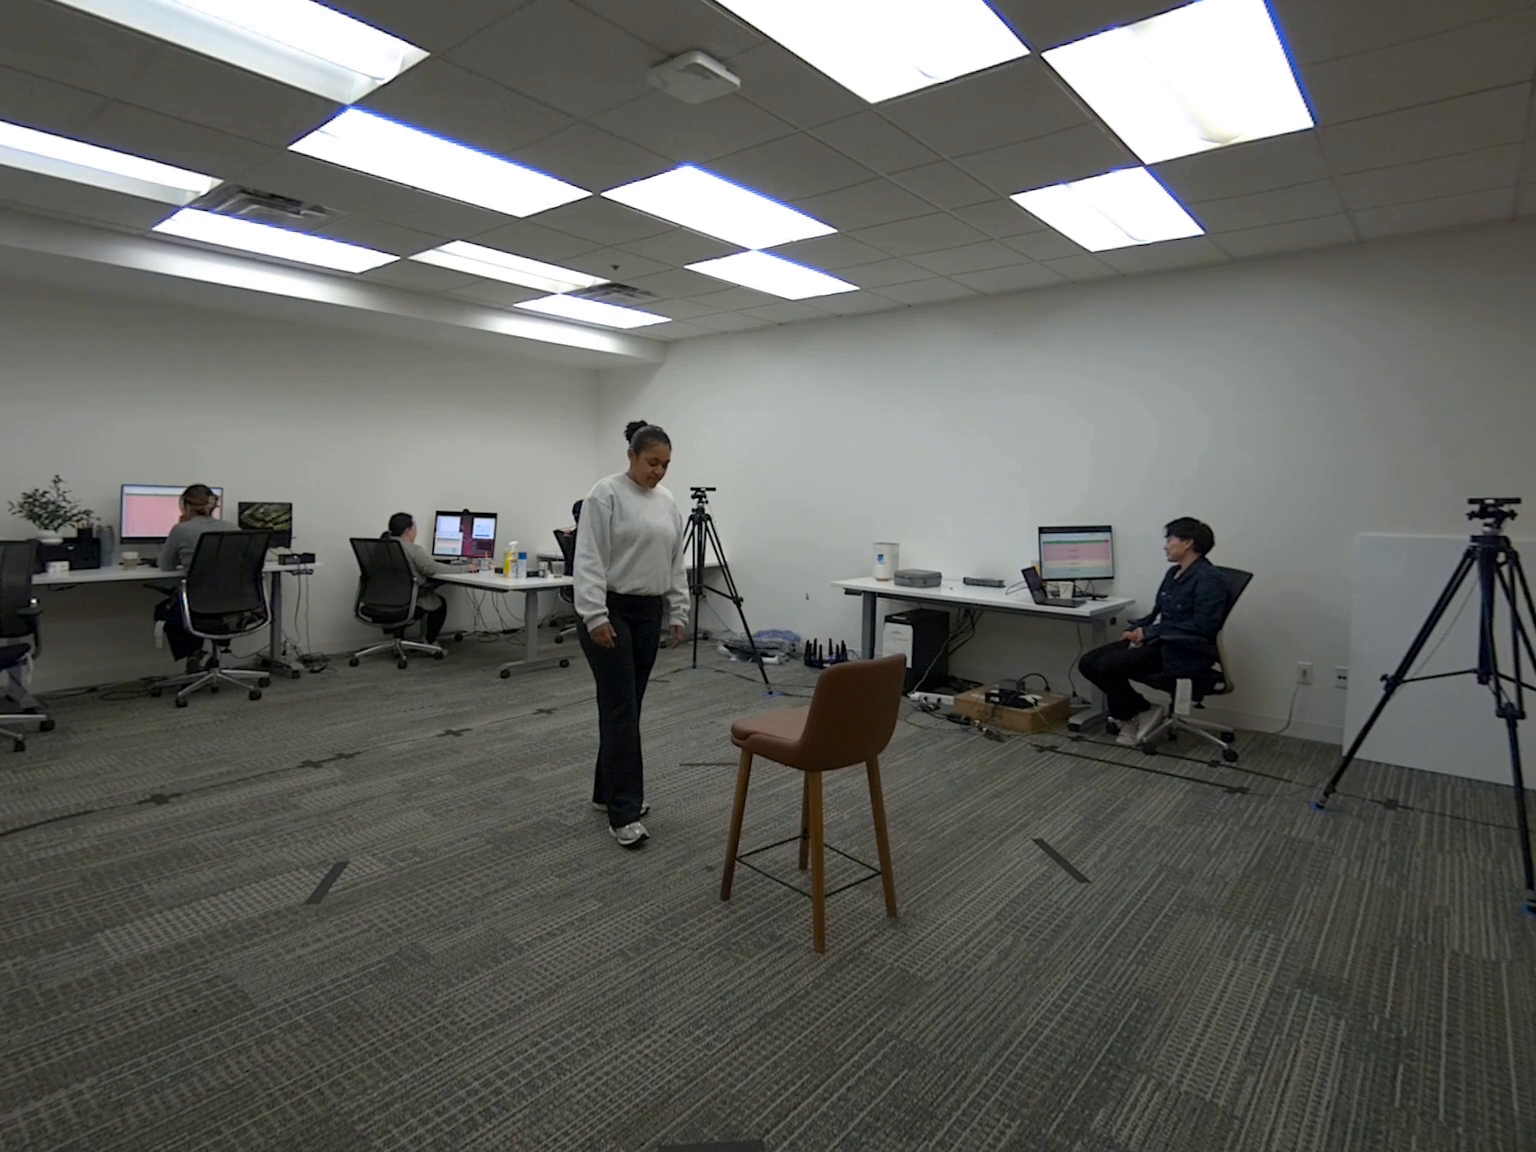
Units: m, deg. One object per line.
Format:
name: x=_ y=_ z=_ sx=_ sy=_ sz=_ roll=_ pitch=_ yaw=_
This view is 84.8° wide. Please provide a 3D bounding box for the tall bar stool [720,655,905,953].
tall bar stool: x=0.149 y=0.667 z=2.814 sx=0.442 sy=0.886 sz=0.484 roll=-1 pitch=6 yaw=-42
